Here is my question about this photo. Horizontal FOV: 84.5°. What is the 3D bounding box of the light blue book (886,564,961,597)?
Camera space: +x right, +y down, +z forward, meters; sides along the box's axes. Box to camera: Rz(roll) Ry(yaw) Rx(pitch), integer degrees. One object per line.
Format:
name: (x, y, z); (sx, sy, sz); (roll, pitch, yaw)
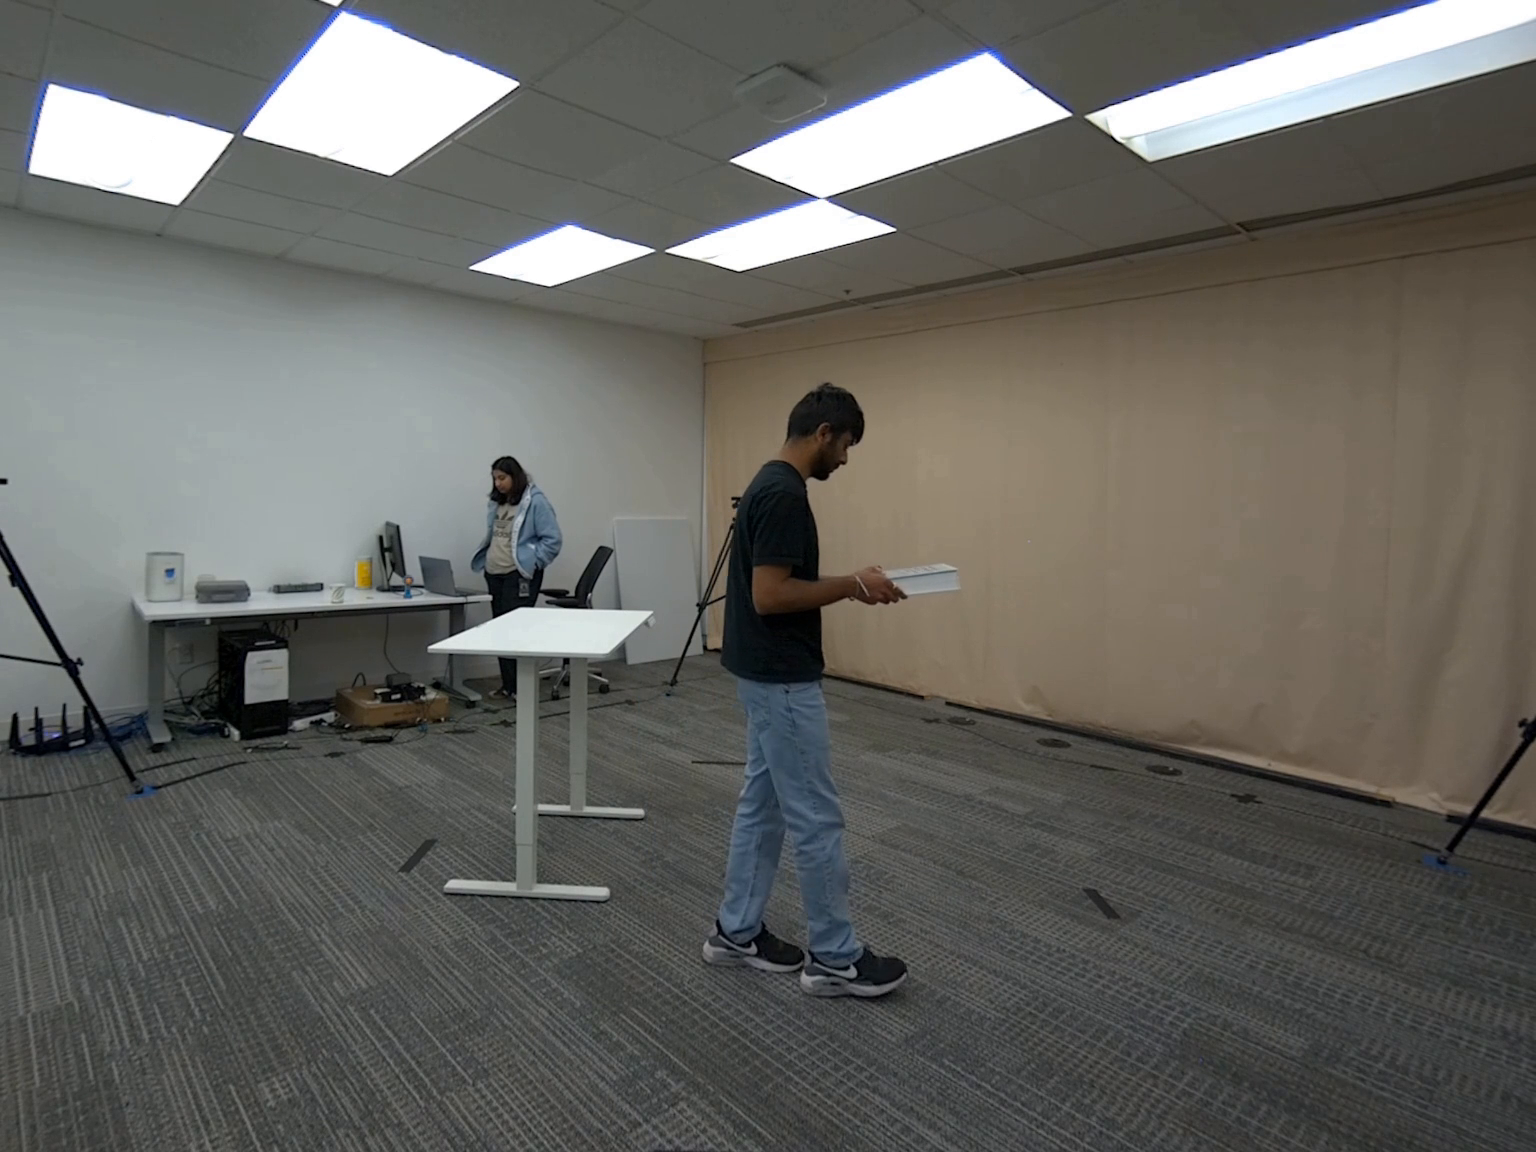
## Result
light blue book: (0.391, 0.014, 2.428); (0.262, 0.059, 0.191); (-4, 5, 5)
